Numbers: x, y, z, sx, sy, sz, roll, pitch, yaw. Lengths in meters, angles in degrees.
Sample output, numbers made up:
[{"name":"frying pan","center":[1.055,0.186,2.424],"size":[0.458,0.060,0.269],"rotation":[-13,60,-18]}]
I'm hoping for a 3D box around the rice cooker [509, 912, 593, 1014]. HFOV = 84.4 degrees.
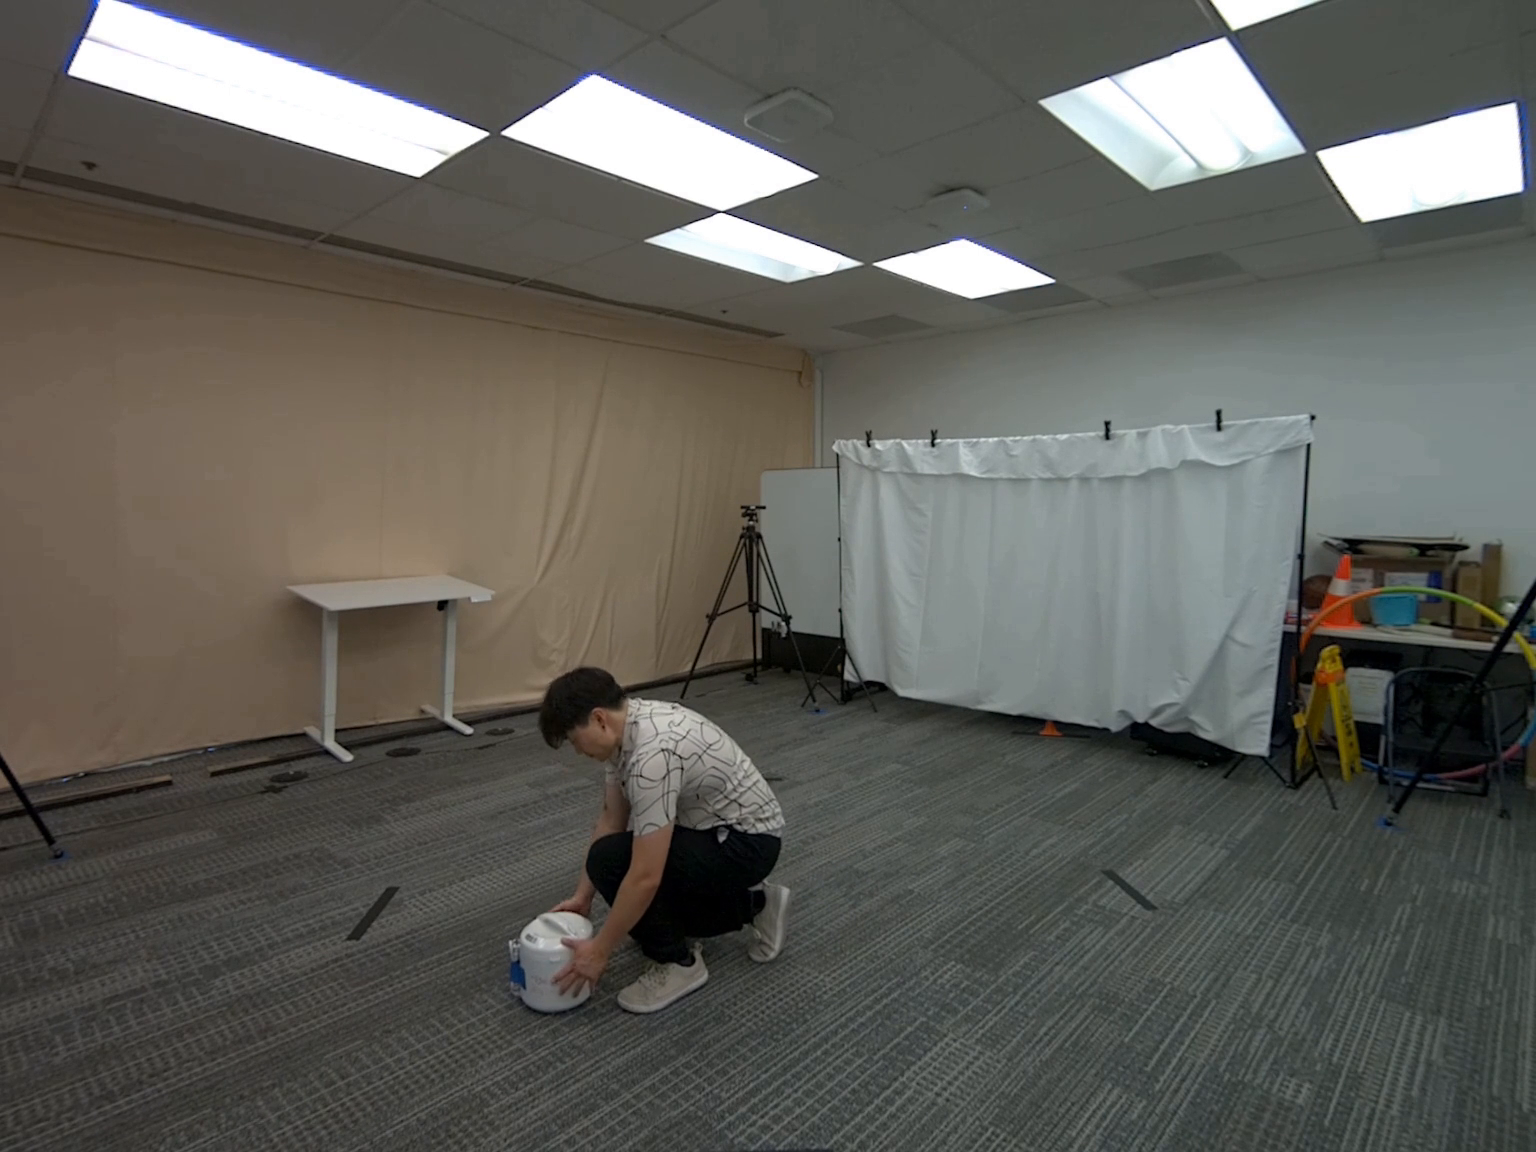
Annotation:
[{"name":"rice cooker","center":[-0.597,1.082,2.400],"size":[0.228,0.232,0.211],"rotation":[4,6,40]}]
